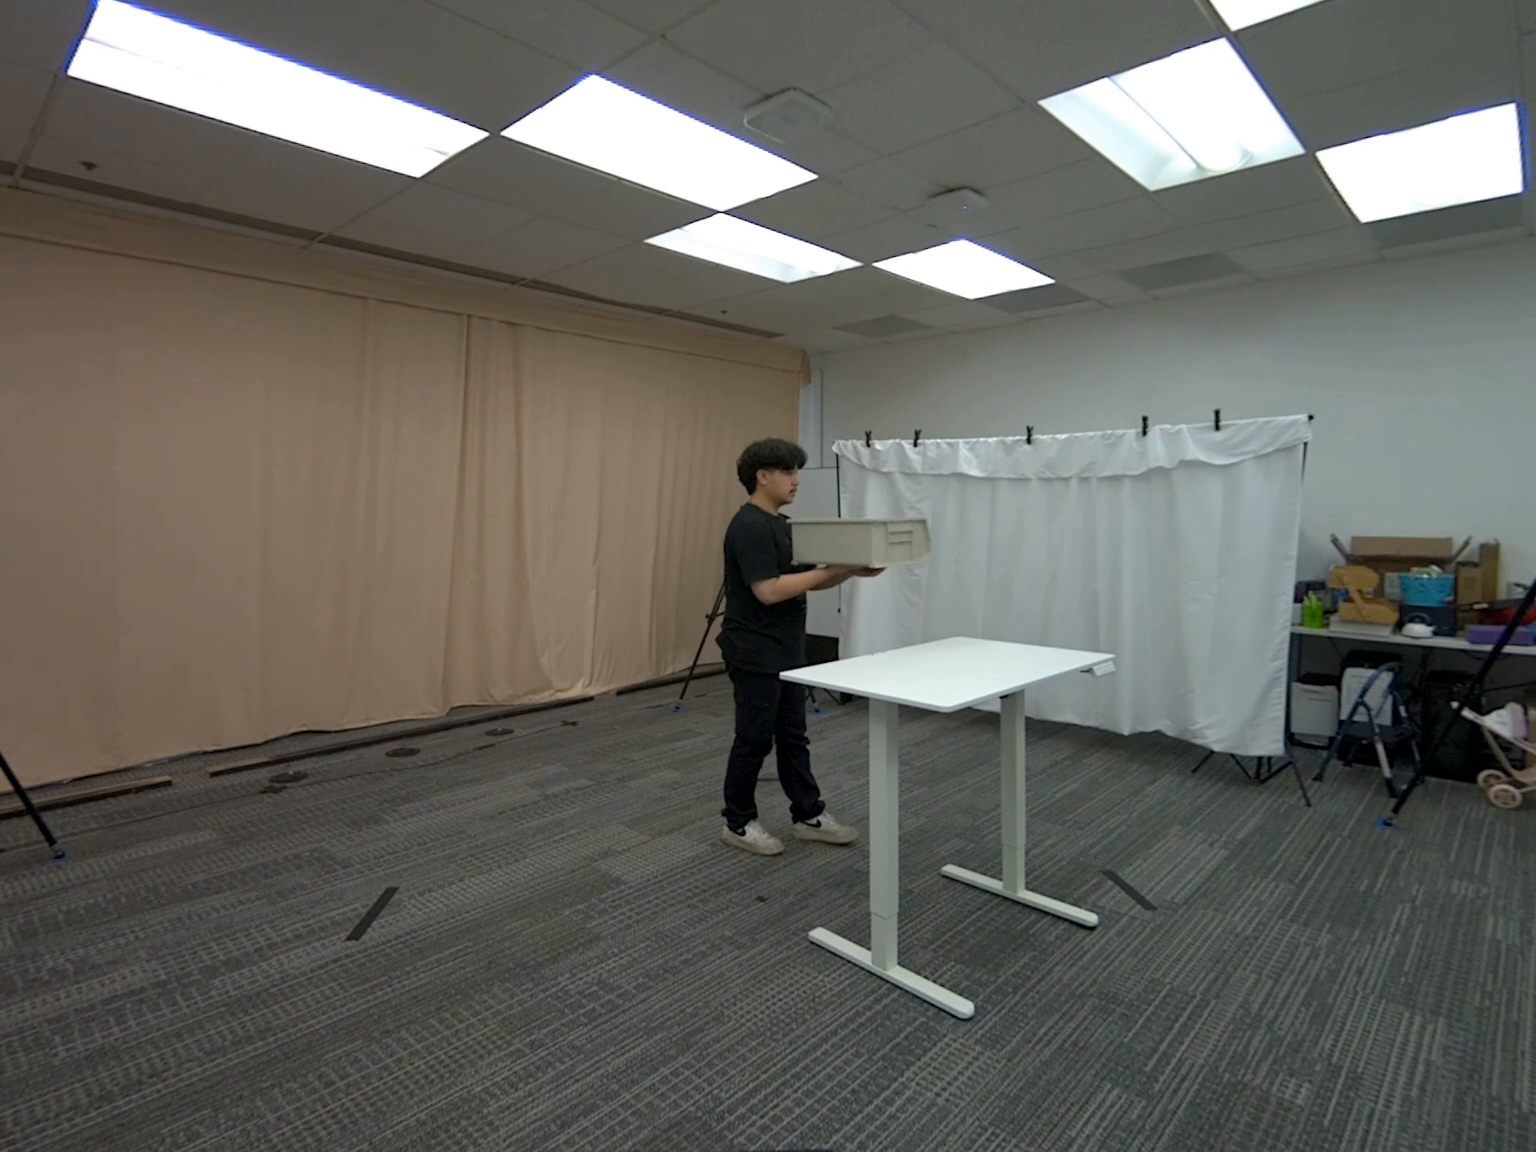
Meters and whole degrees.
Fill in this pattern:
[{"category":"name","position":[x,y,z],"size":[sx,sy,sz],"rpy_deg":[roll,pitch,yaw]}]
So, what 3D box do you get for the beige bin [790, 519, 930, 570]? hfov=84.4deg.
[{"category":"beige bin","position":[0.389,-0.136,3.296],"size":[0.366,0.188,0.436],"rpy_deg":[-6,6,-41]}]
